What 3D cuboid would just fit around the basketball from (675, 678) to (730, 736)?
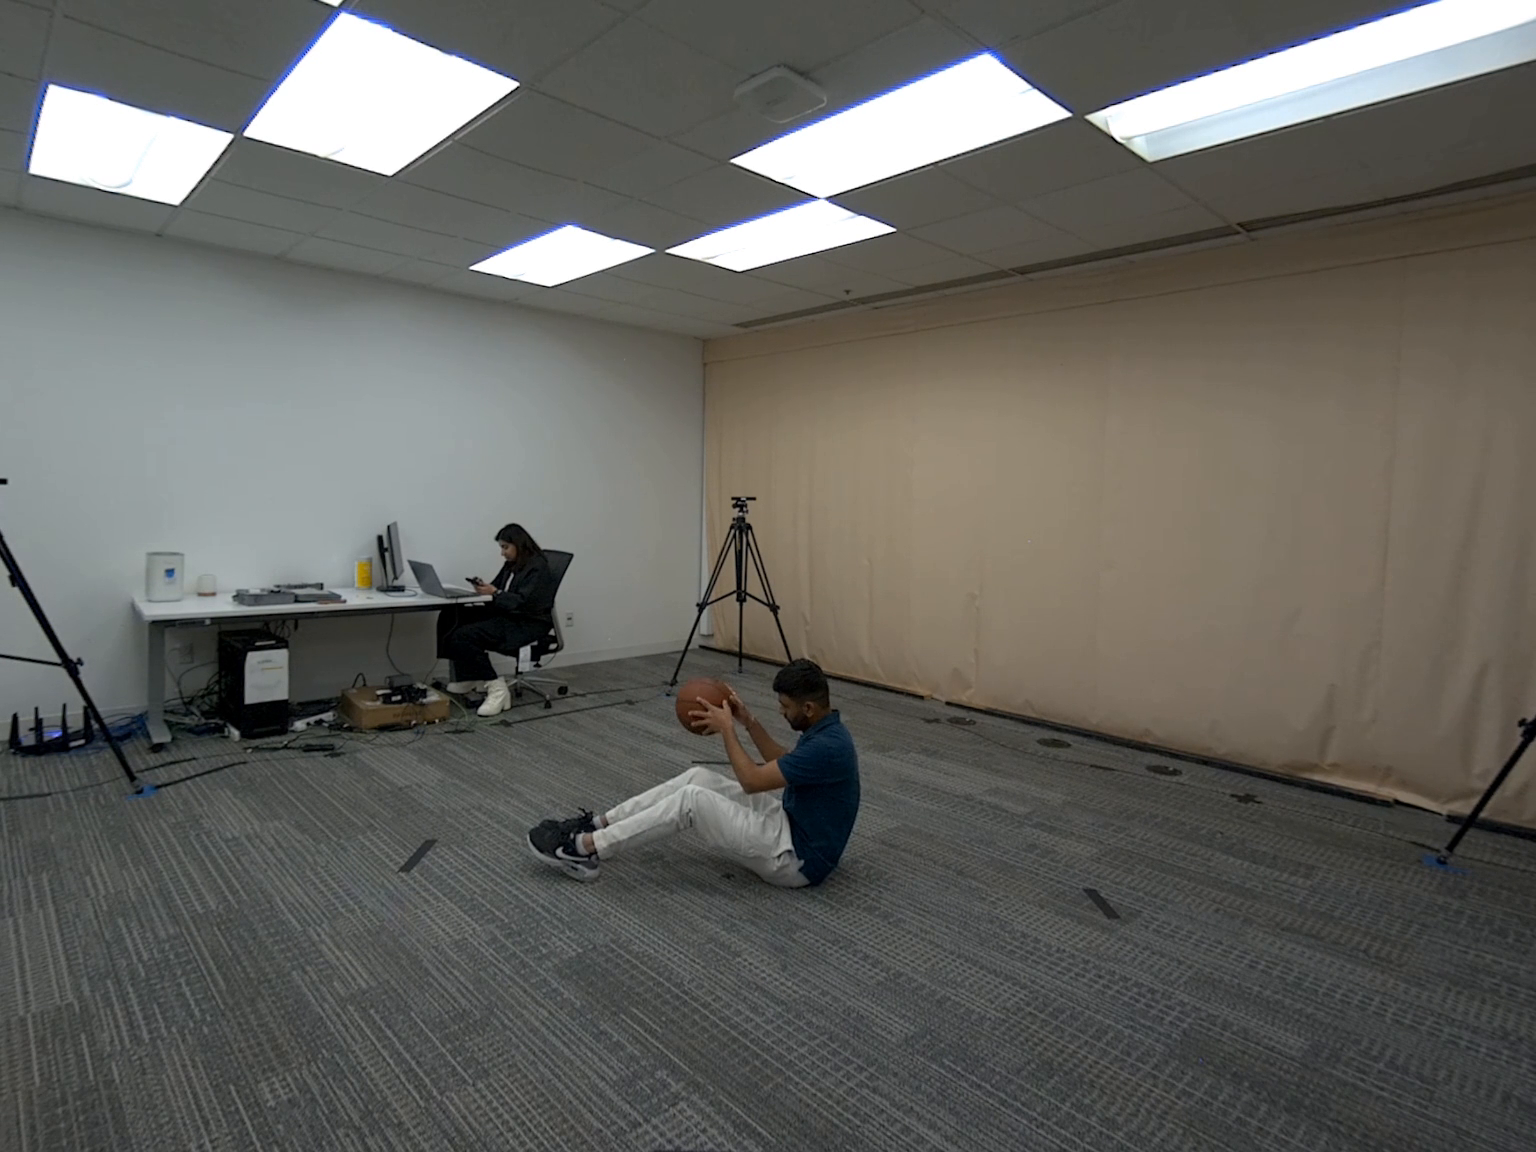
[{"bbox_3d":[-0.268,0.546,3.417,0.236,0.235,0.237,1,4,-1],"label":"basketball"}]
